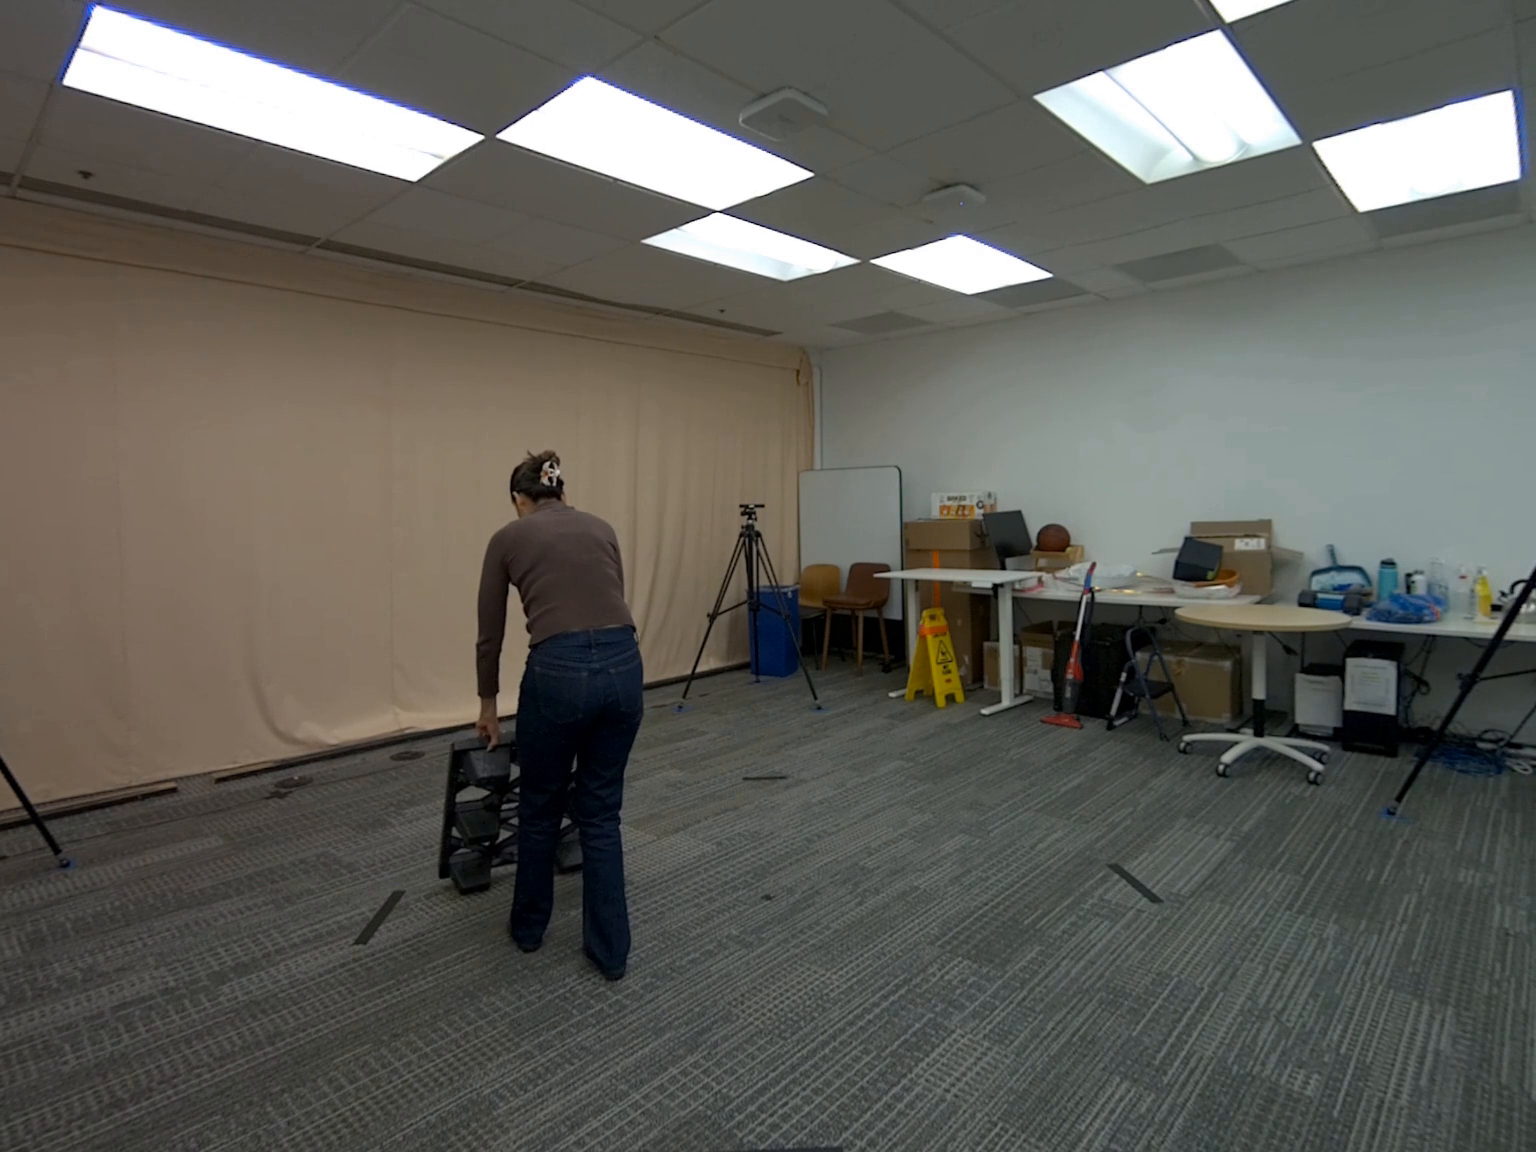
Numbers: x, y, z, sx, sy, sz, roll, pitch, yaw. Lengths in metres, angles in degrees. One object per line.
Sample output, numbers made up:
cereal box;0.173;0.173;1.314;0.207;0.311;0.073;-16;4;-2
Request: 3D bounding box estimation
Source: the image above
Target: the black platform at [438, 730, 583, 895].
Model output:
black platform;-0.838;0.831;2.972;0.590;0.800;0.148;-4;44;-28
